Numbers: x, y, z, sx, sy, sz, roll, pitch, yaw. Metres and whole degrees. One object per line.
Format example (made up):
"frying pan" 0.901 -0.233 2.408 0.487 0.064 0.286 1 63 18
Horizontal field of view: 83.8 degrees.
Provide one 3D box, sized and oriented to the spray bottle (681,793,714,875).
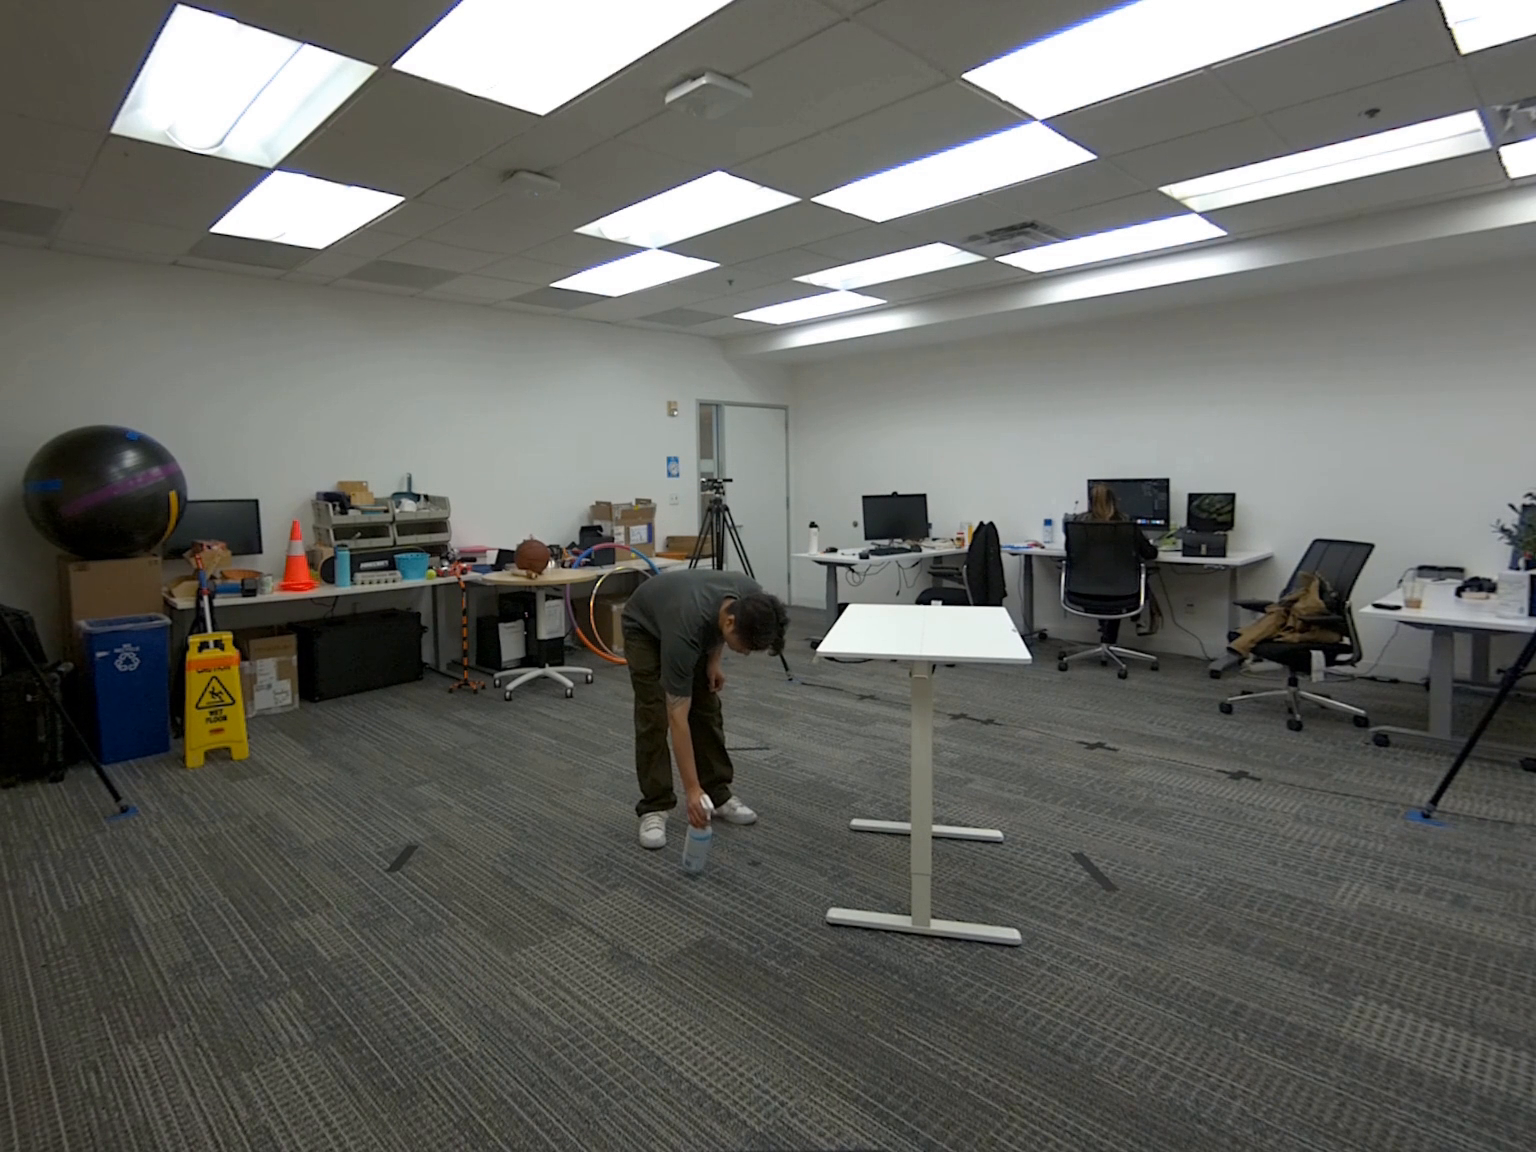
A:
"spray bottle" -0.240 0.900 2.980 0.087 0.293 0.091 12 21 1
